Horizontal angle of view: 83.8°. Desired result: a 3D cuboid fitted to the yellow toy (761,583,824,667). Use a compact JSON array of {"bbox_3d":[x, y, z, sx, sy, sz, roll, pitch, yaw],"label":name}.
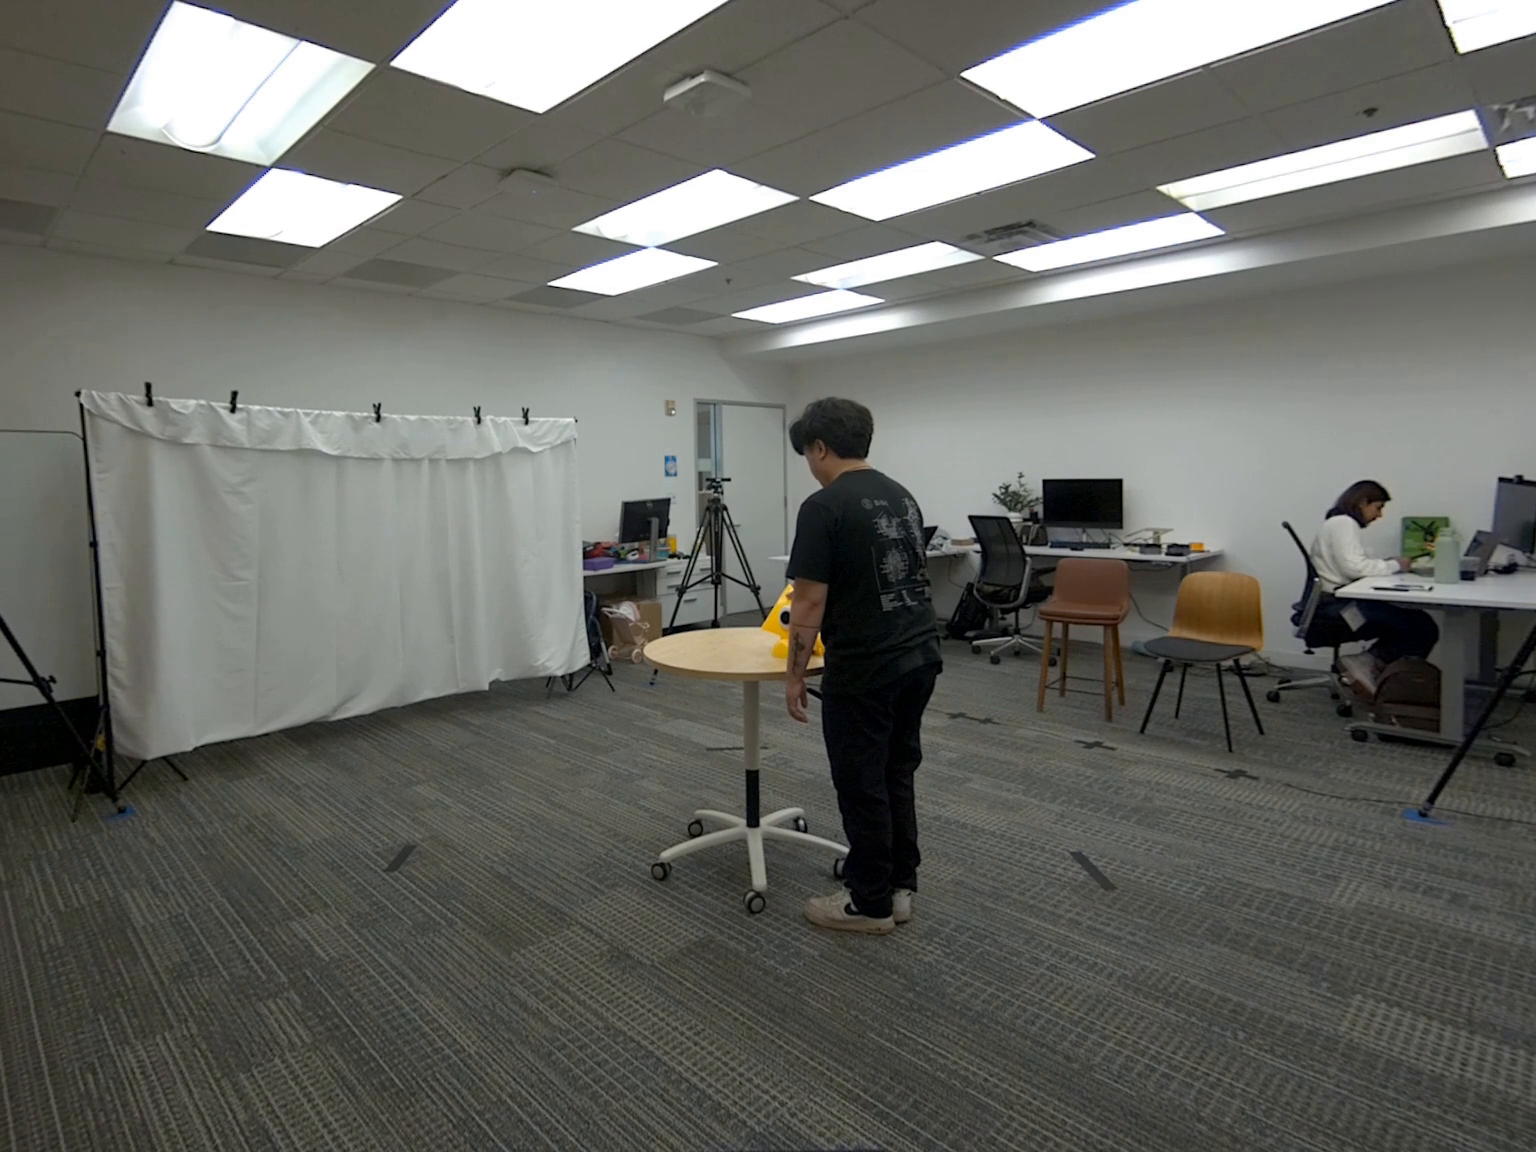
[{"bbox_3d":[0.112,0.151,2.942,0.200,0.230,0.198,-4,6,-32],"label":"yellow toy"}]
